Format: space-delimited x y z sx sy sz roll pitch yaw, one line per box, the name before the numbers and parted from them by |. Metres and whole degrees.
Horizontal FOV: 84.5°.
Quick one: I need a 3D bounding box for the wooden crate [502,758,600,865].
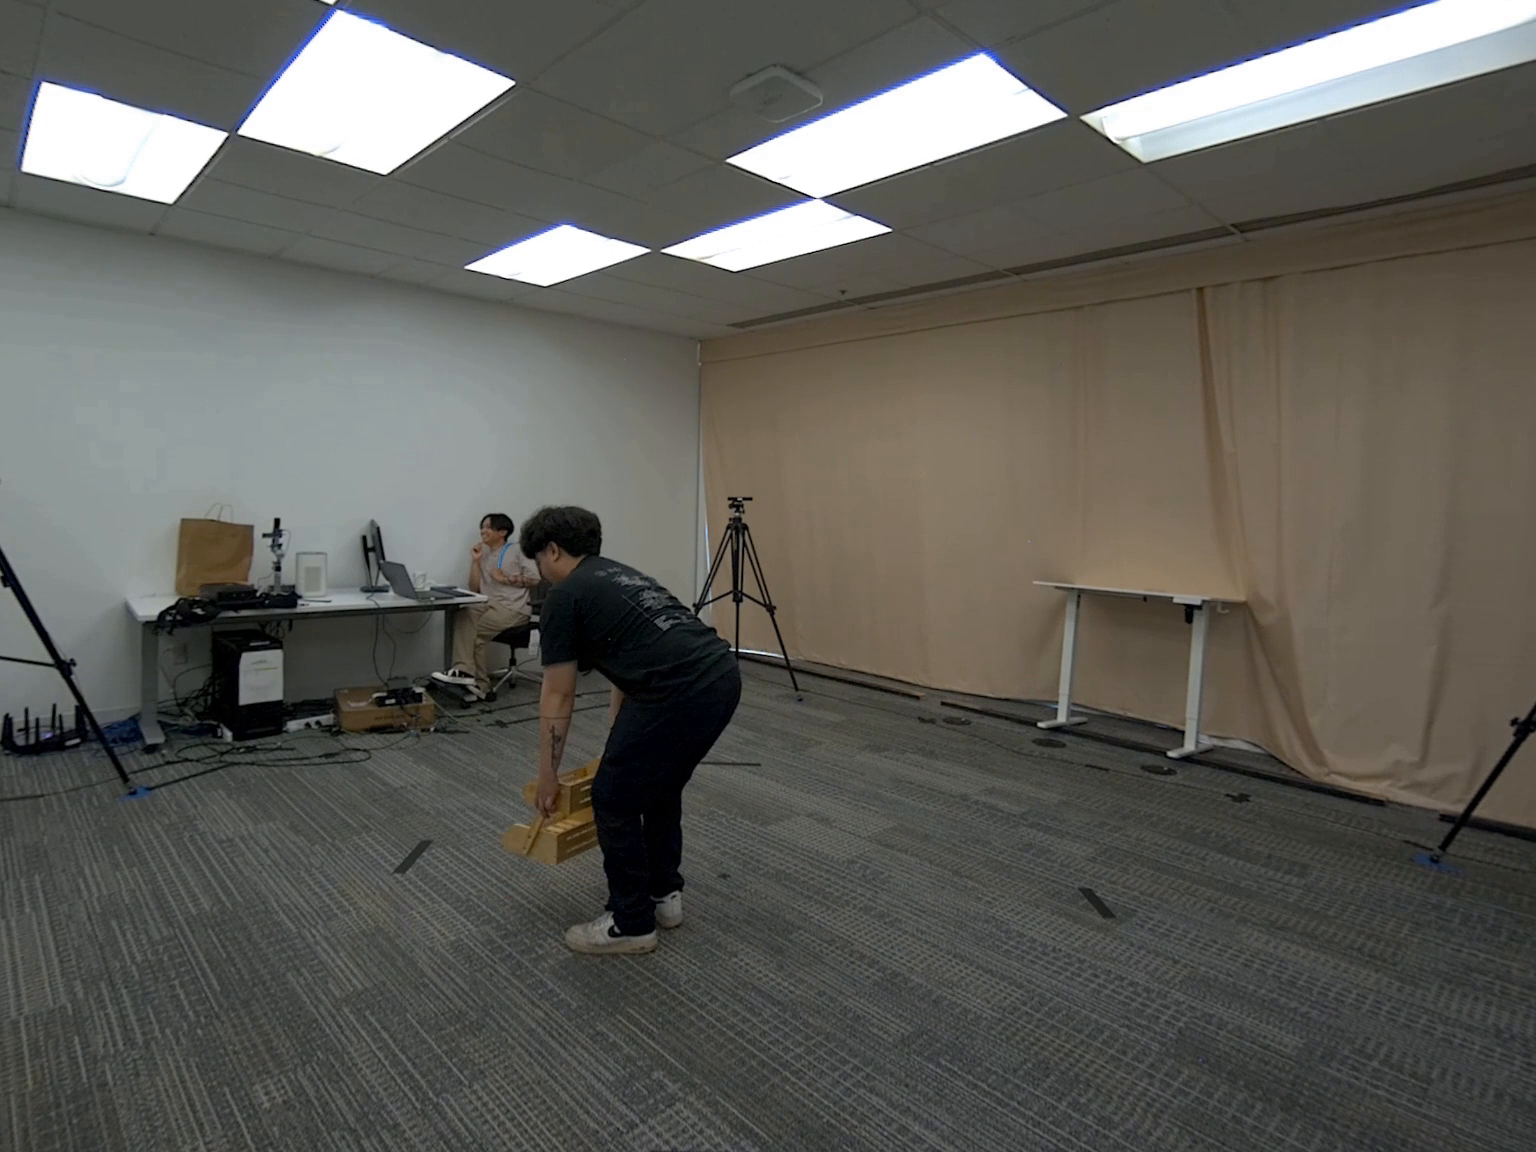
wooden crate | -0.673 0.761 2.805 0.308 0.273 0.318 2 2 30
